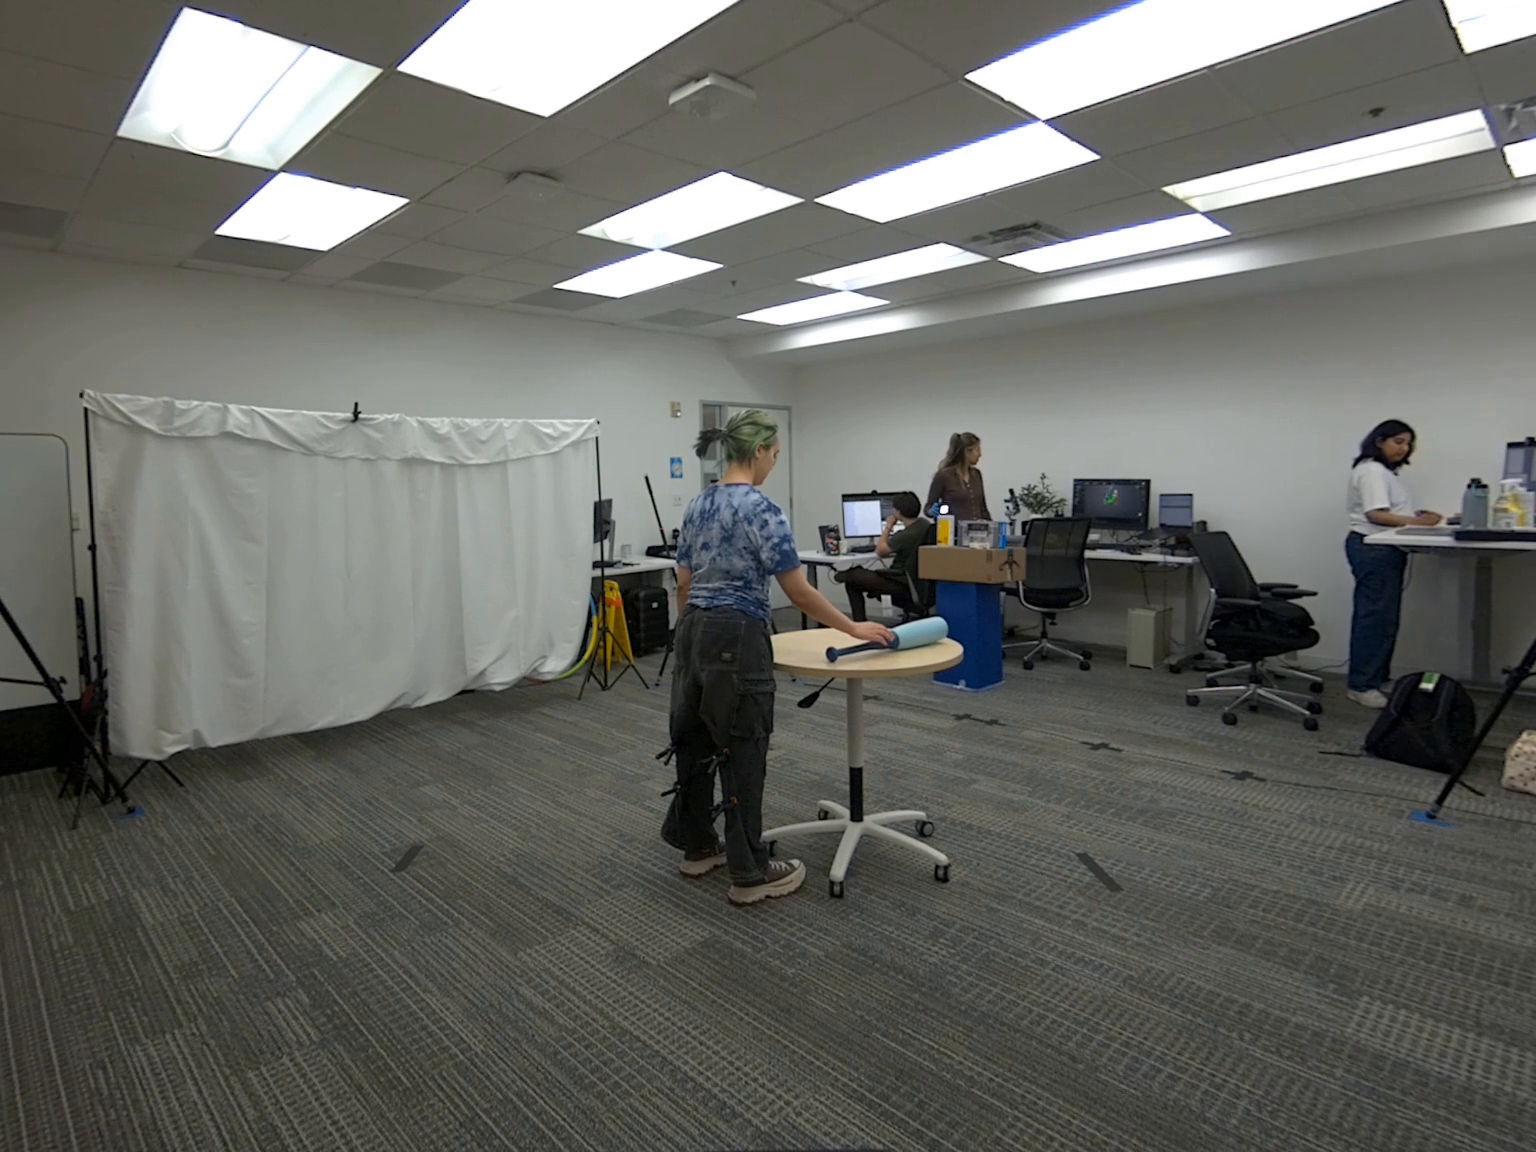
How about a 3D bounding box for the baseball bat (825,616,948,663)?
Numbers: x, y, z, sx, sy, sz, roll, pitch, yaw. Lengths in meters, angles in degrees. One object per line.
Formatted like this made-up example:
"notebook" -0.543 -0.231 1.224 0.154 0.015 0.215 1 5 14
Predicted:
"baseball bat" 0.426 0.233 2.988 0.531 0.088 0.092 -10 9 -35
